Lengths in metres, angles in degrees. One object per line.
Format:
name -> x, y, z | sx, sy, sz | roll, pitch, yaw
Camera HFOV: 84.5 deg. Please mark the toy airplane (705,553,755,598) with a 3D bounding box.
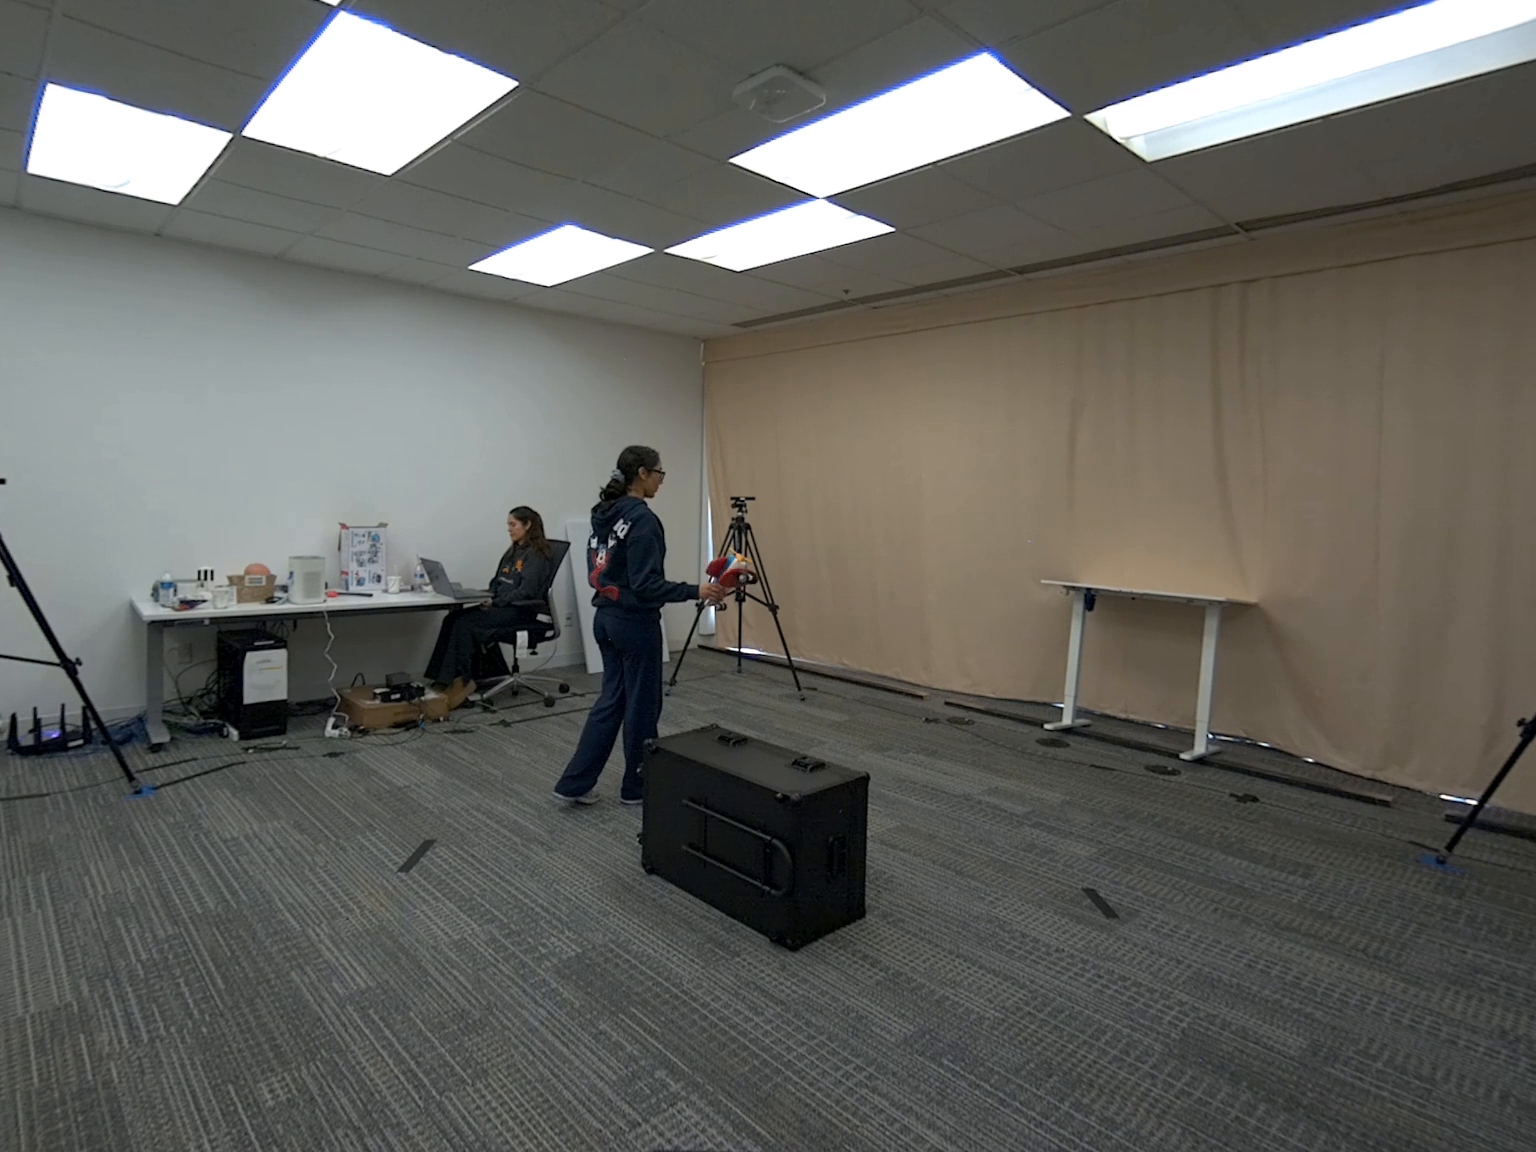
toy airplane -> -0.188, 0.023, 3.556 | 0.259, 0.160, 0.246 | -33, -20, -5
